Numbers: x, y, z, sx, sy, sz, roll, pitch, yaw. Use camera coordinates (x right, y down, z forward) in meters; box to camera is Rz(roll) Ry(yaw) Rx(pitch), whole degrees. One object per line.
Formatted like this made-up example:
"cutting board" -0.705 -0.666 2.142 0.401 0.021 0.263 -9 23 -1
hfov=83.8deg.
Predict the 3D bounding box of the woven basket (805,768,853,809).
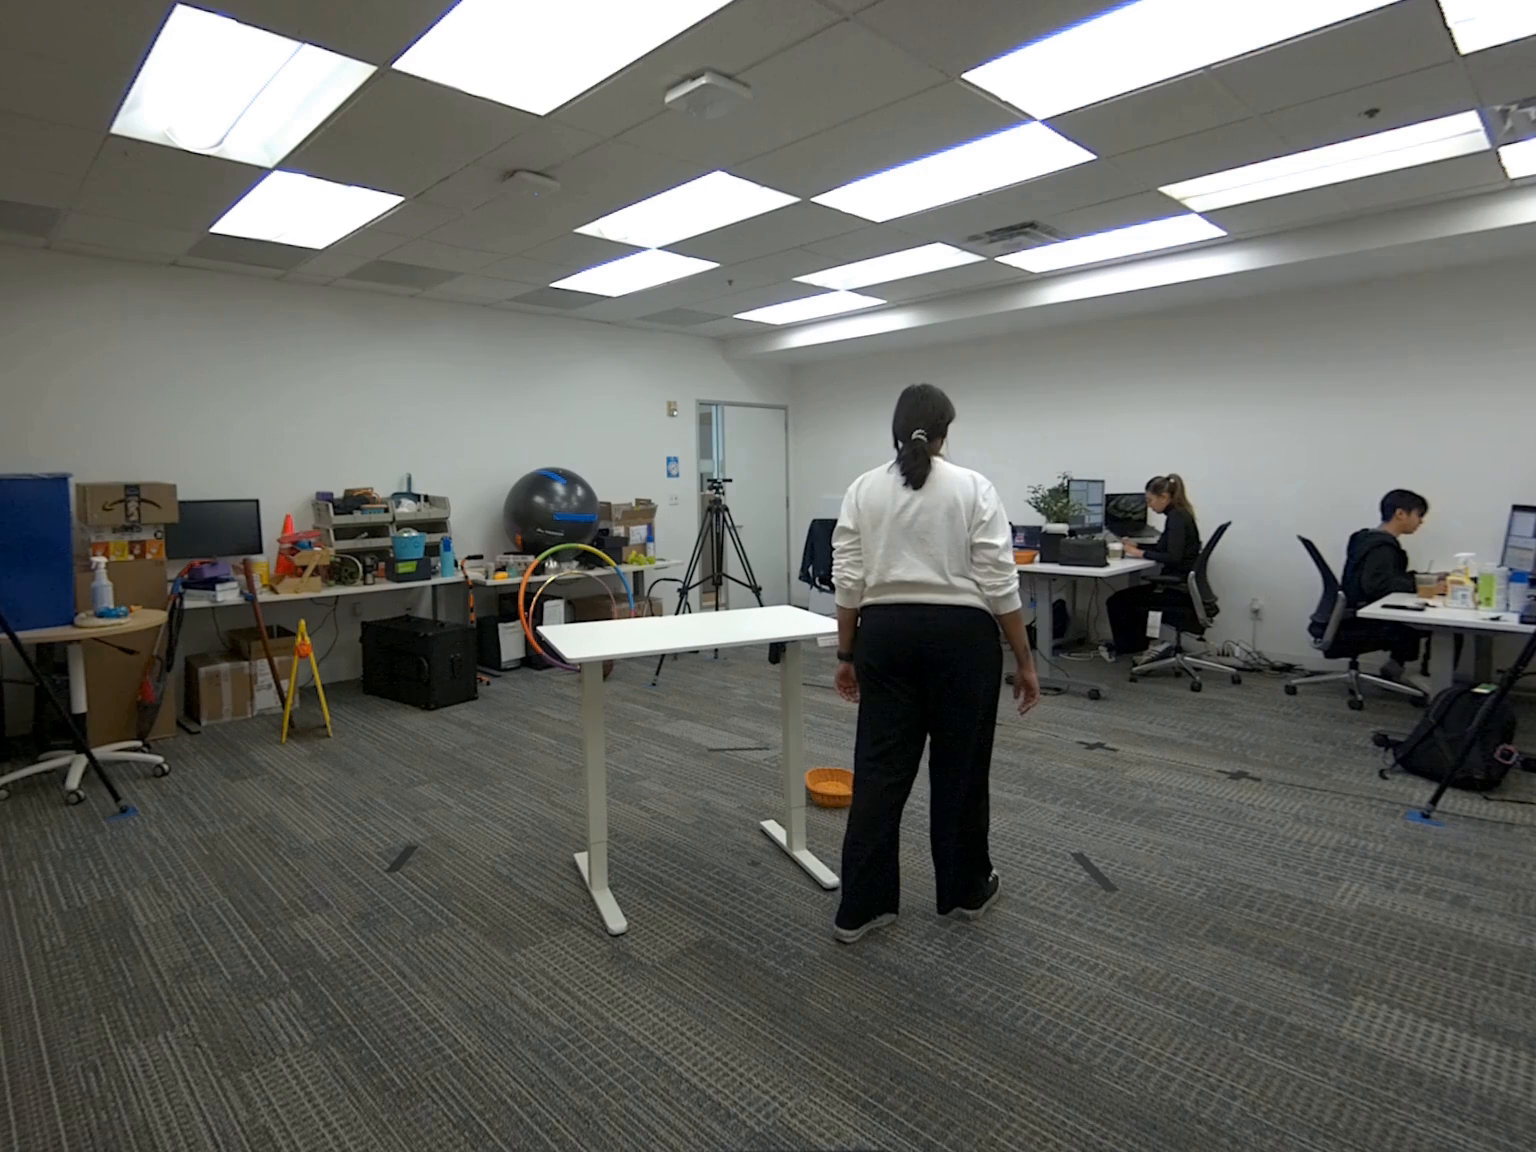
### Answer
"woven basket" 0.285 0.928 3.763 0.254 0.073 0.350 1 6 4
